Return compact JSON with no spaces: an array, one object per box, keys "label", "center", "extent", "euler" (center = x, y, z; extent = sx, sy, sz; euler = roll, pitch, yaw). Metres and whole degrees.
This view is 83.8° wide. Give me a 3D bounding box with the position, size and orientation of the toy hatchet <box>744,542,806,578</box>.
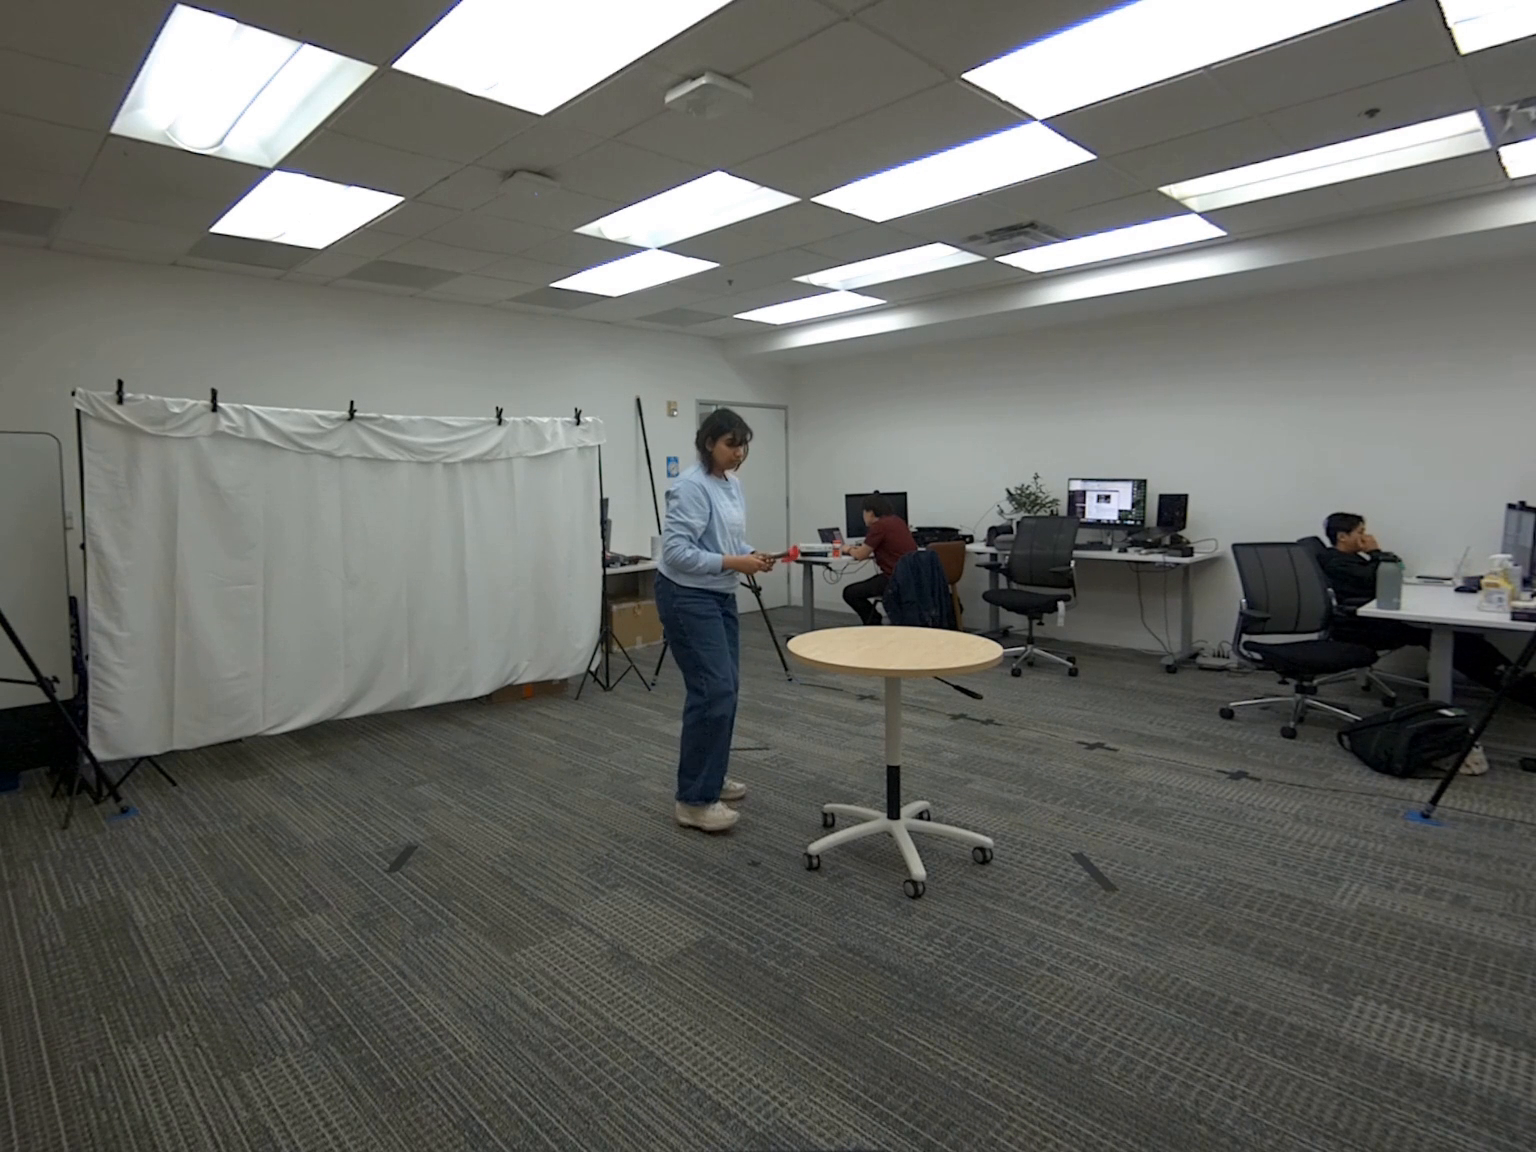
[{"label":"toy hatchet","center":[0.004,-0.067,3.558],"extent":[0.273,0.030,0.126],"euler":[-15,-28,15]}]
